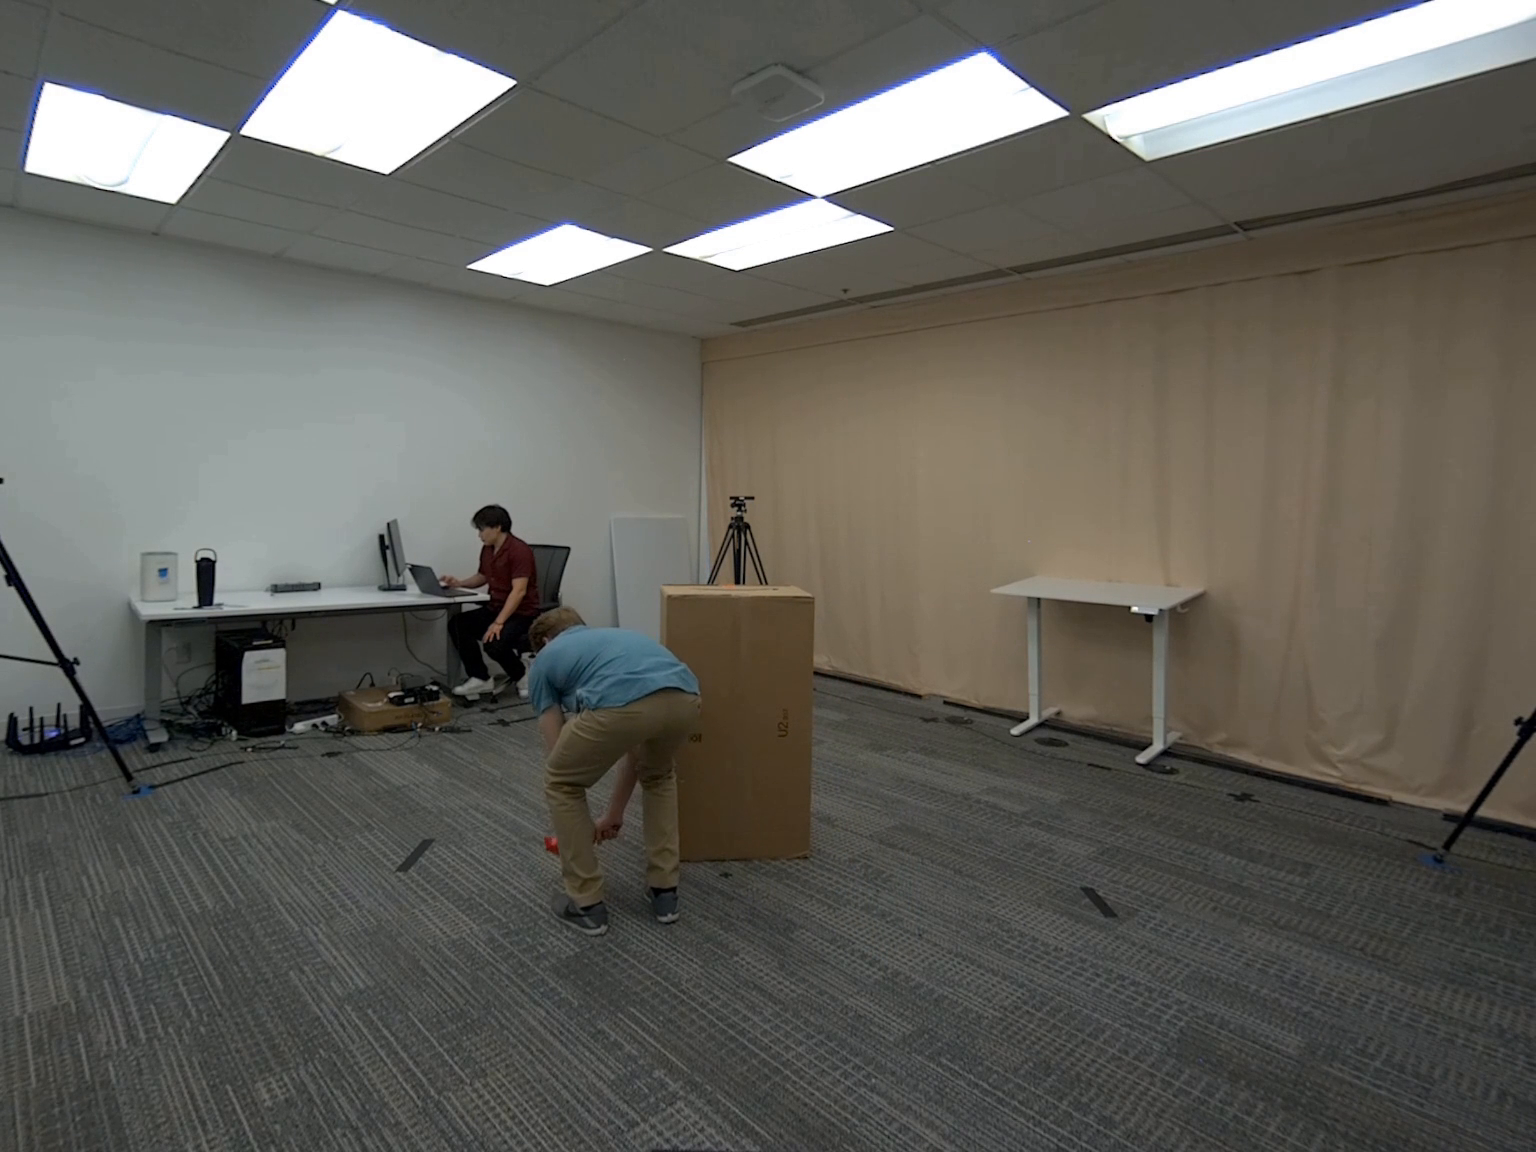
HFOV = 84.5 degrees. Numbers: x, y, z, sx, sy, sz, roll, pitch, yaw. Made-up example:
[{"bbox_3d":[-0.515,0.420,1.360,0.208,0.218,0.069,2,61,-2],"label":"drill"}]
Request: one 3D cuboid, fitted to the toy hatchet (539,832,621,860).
[{"bbox_3d":[-0.674,0.966,3.041,0.270,0.128,0.030,-1,41,1],"label":"toy hatchet"}]
